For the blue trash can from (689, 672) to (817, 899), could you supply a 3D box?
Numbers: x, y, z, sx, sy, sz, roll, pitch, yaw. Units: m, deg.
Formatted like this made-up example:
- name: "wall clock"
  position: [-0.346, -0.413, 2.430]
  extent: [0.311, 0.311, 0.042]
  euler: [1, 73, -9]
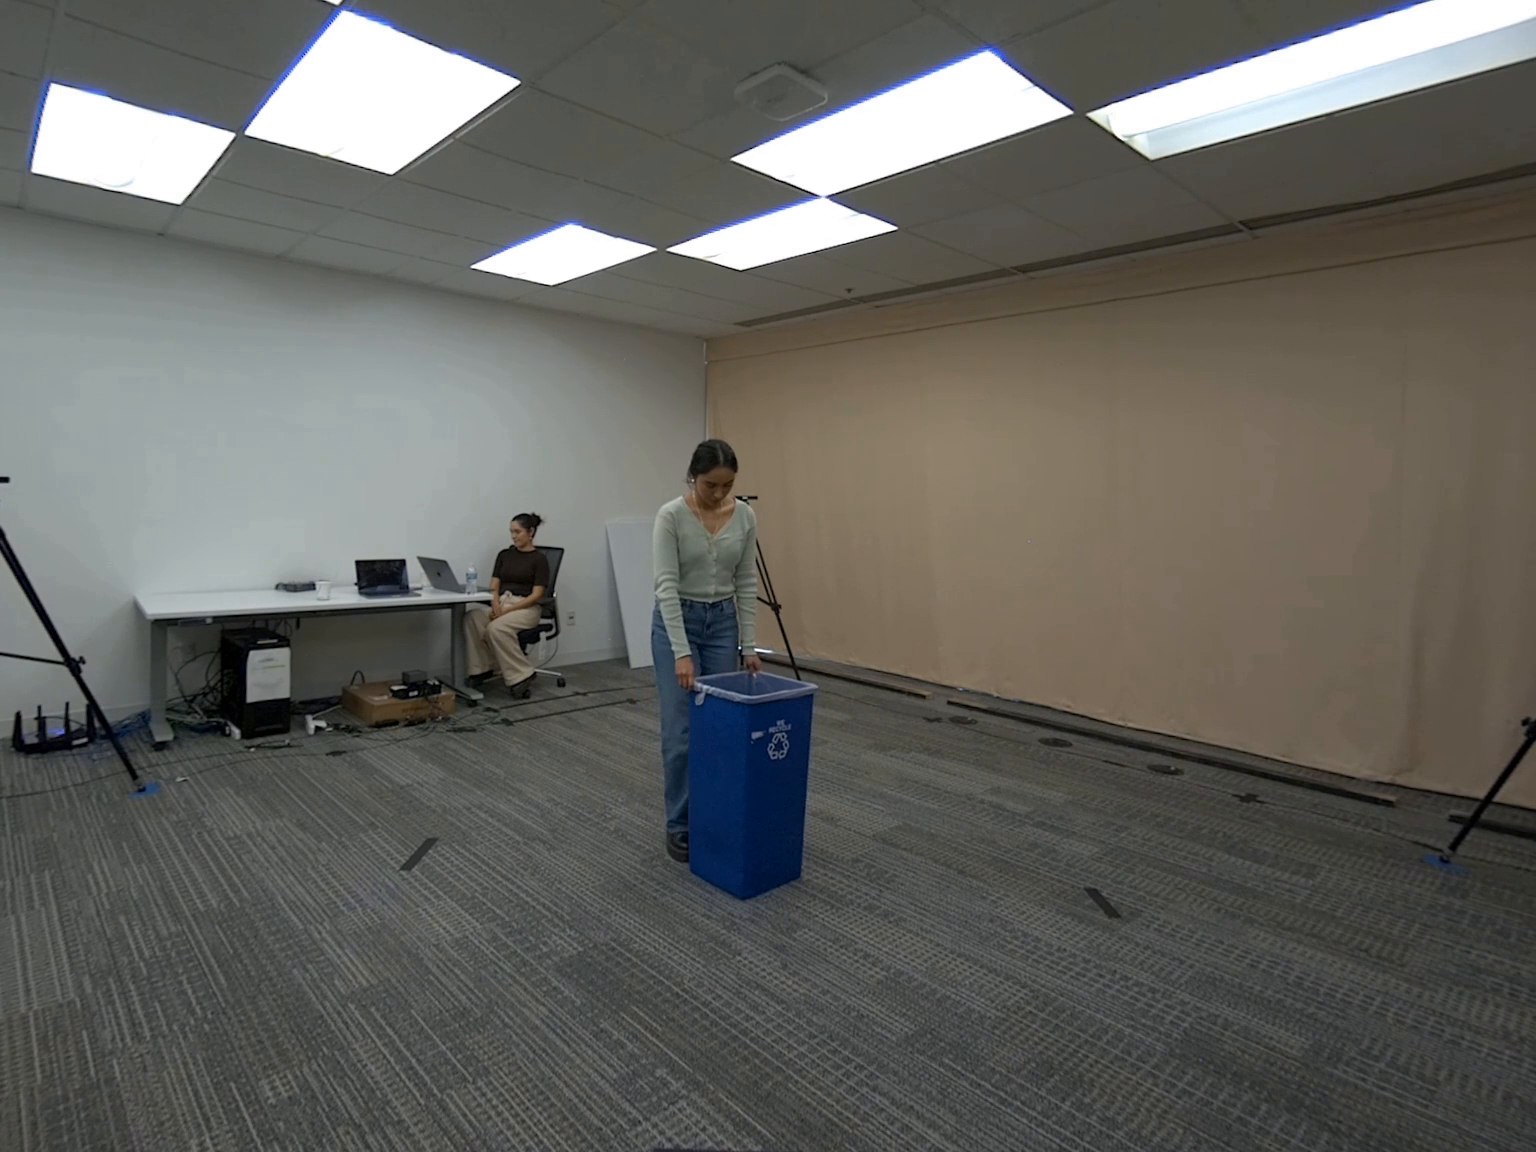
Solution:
- name: "blue trash can"
  position: [-0.076, 0.745, 3.098]
  extent: [0.365, 0.712, 0.387]
  euler: [-2, 4, -43]
